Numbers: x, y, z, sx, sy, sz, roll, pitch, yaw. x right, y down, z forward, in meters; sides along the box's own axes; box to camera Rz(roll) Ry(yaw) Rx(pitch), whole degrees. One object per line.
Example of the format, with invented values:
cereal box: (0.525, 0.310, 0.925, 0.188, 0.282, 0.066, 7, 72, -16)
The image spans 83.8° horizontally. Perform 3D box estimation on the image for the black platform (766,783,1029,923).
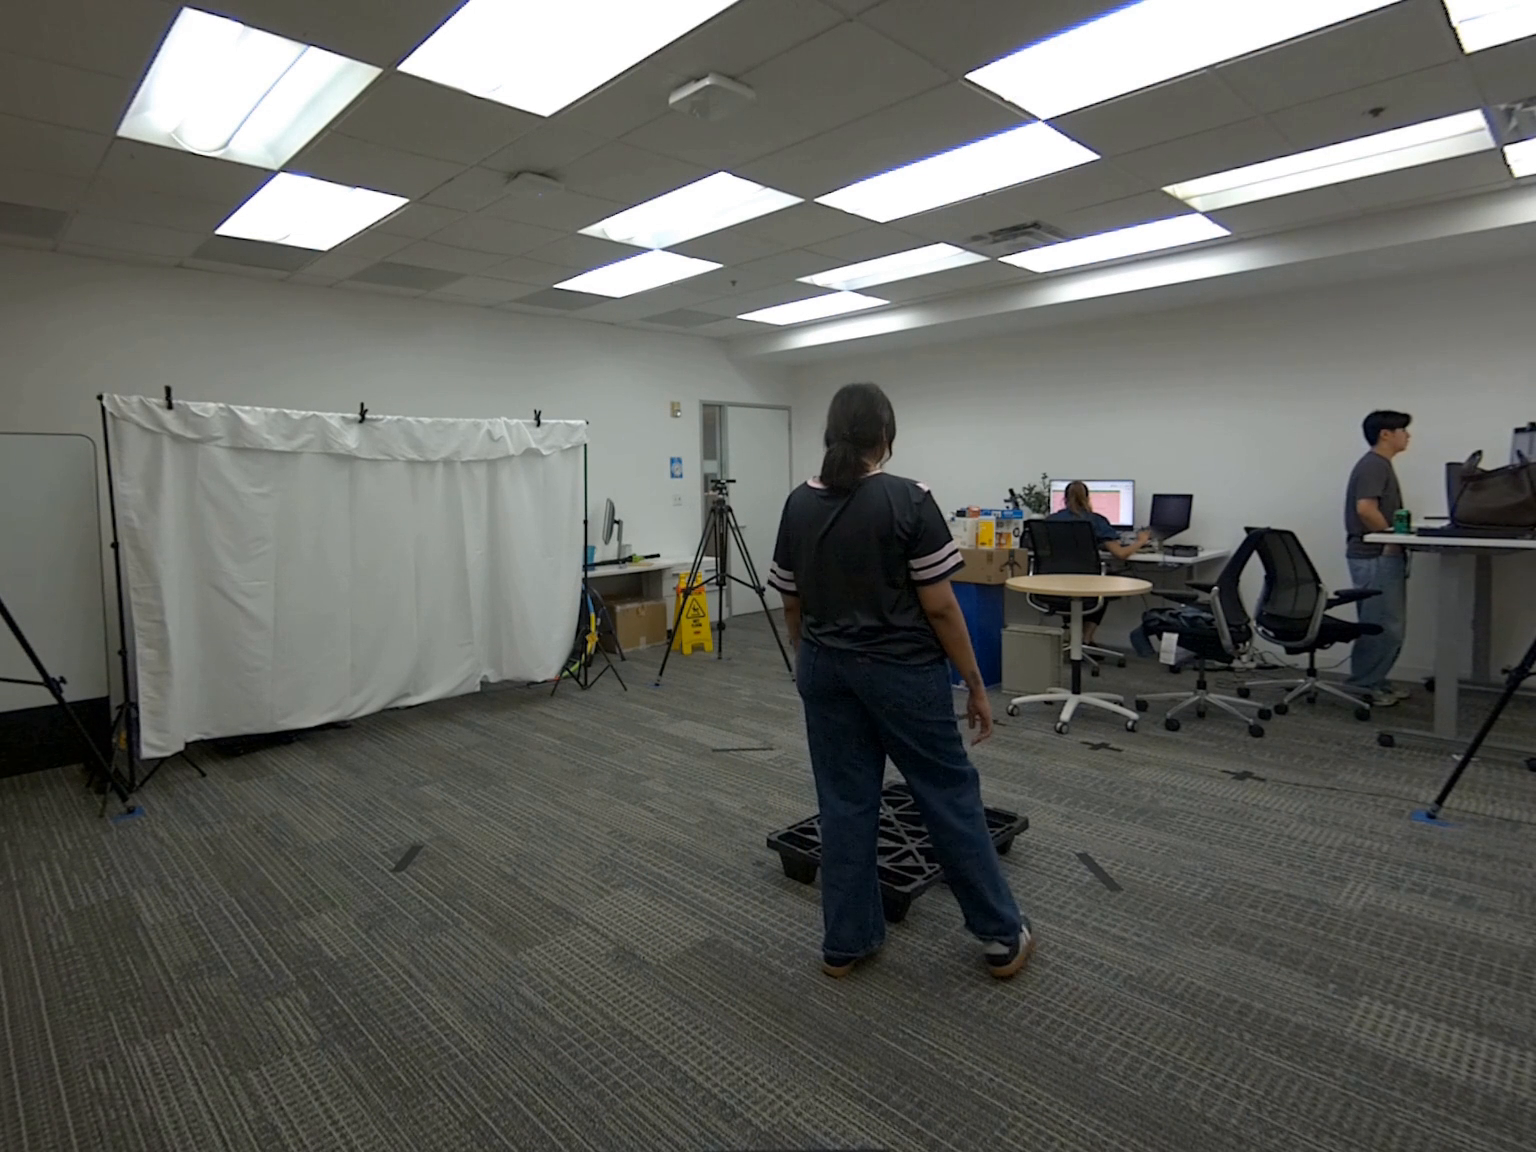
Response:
black platform: (0.477, 0.974, 3.087, 0.624, 0.143, 0.784, 4, 8, 44)
